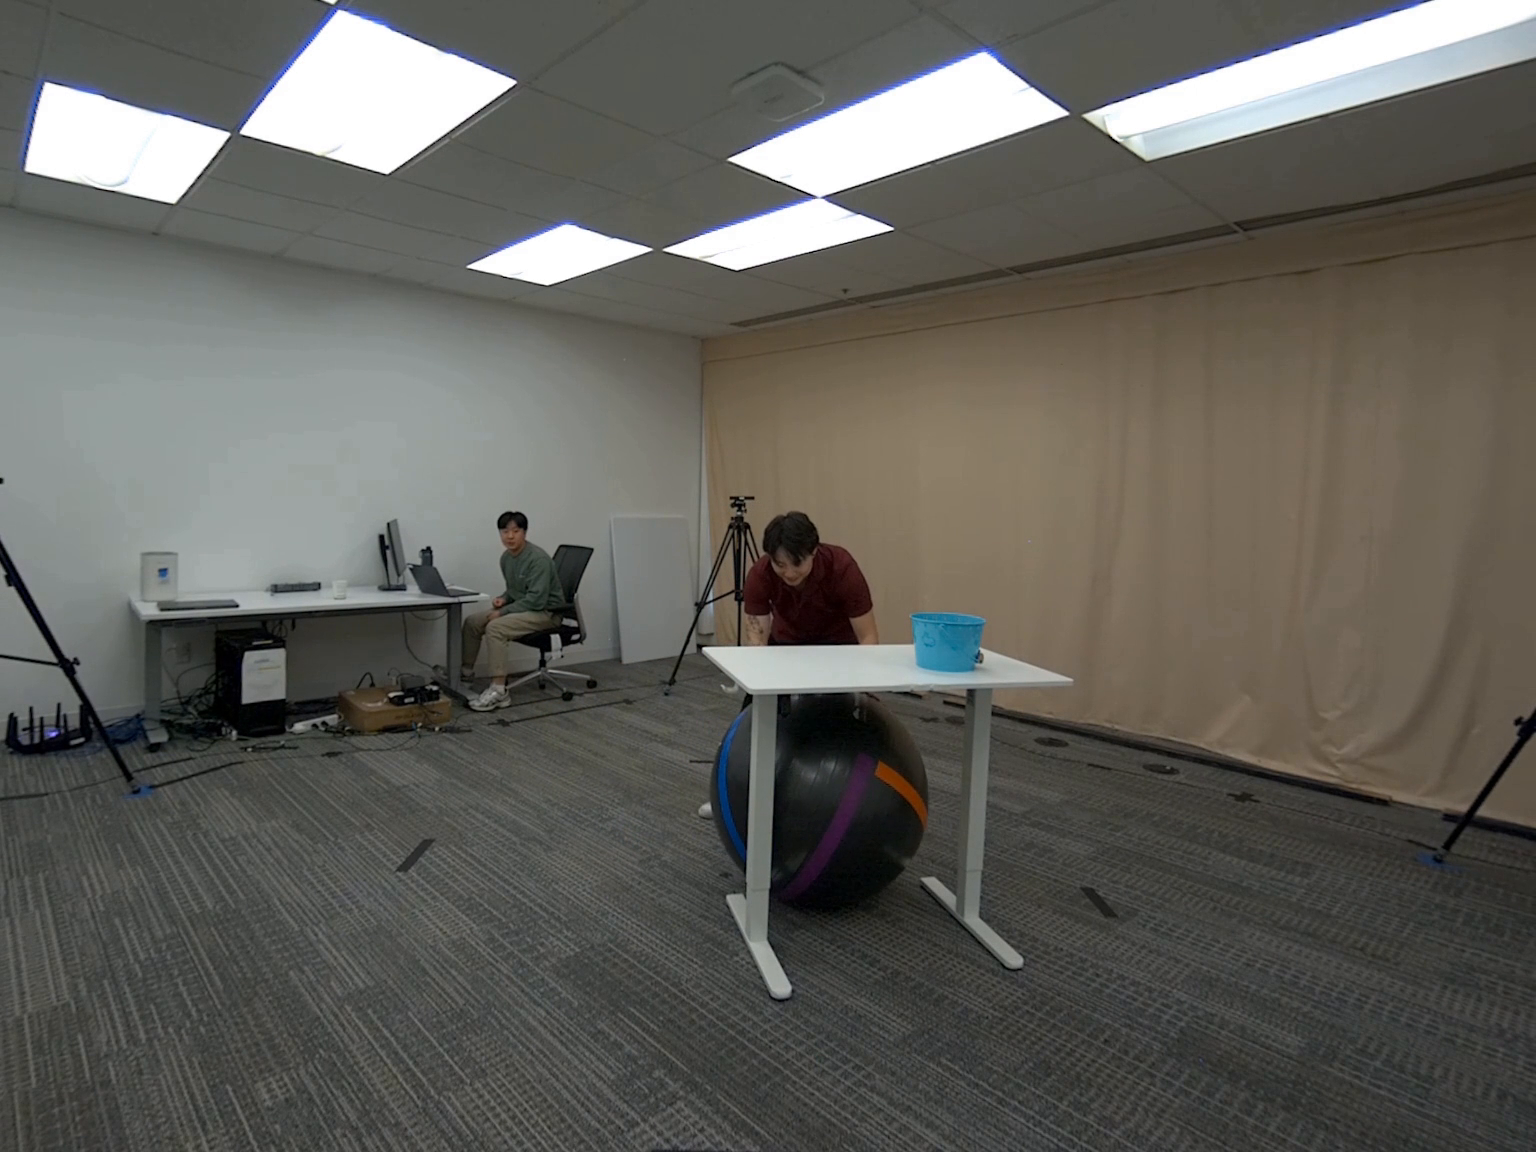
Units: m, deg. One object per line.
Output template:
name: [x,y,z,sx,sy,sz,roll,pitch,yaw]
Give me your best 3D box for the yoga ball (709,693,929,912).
yoga ball: [0.171,0.760,2.941,0.757,0.756,0.760,1,4,-1]
